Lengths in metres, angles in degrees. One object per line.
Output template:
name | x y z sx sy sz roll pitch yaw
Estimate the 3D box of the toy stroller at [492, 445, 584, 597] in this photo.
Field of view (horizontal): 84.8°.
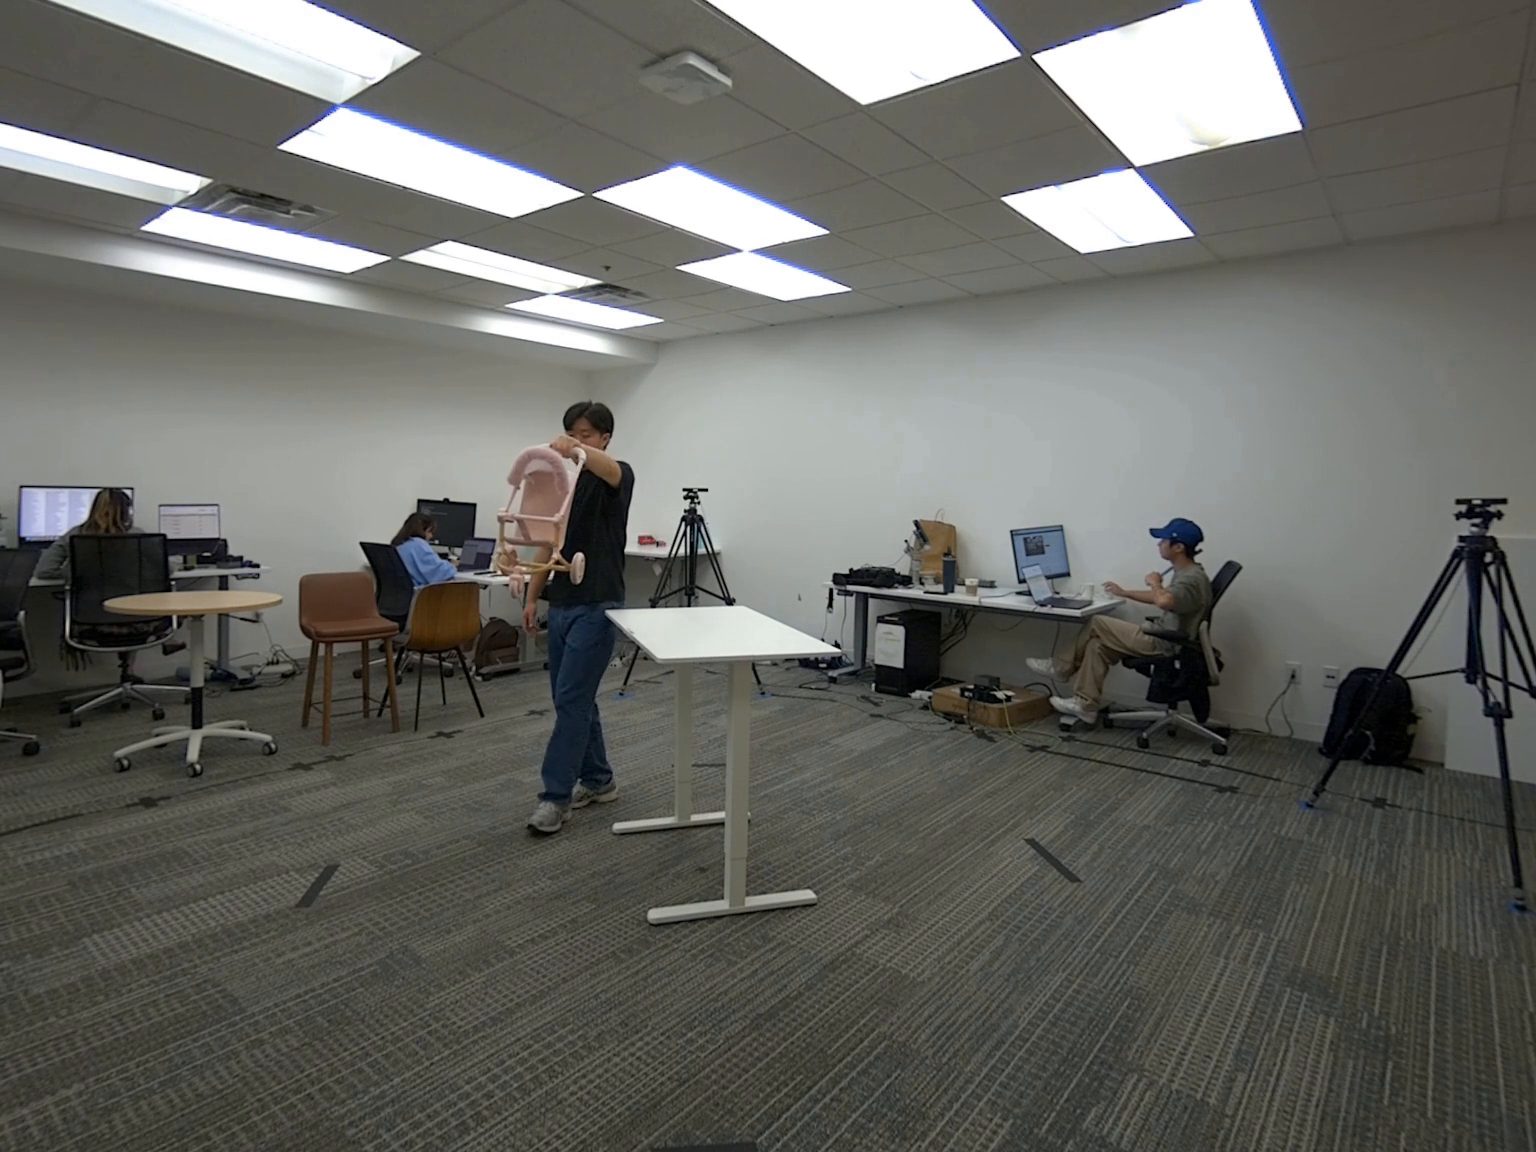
toy stroller | -0.778 -0.198 2.846 0.284 0.535 0.337 6 0 8
